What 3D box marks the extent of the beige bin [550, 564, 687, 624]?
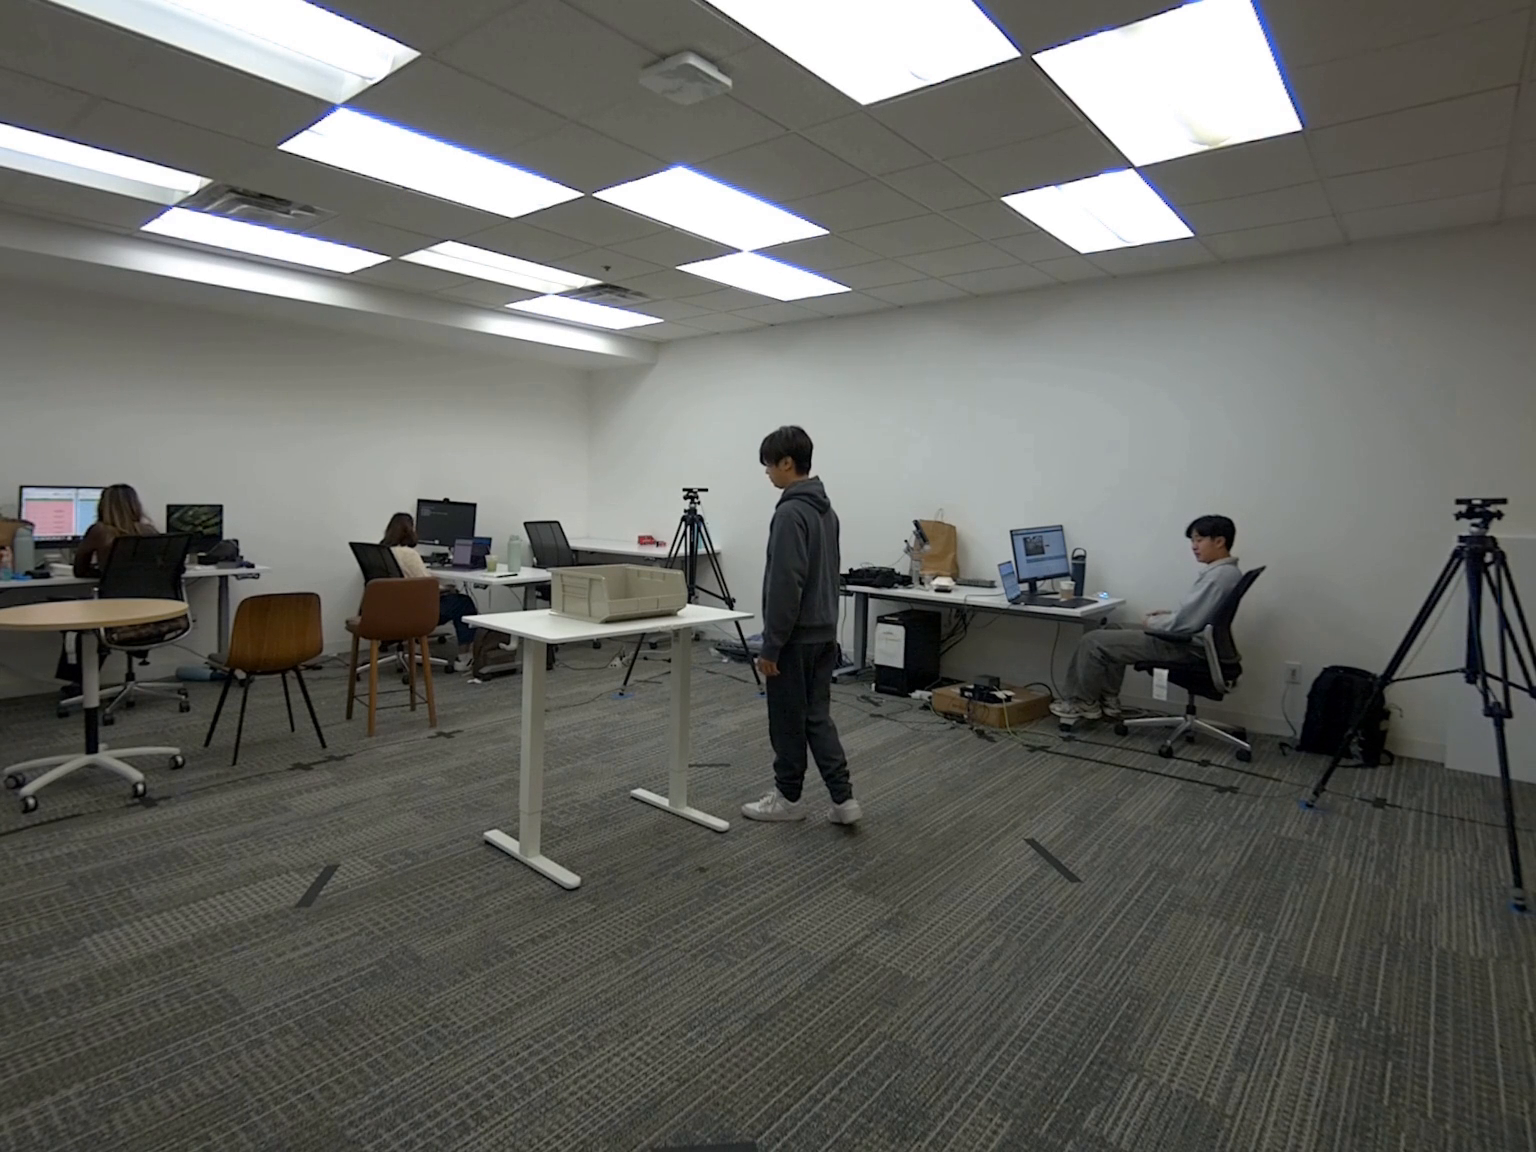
[{"bbox_3d":[-0.613,0.066,3.383,0.390,0.188,0.409,5,5,40],"label":"beige bin"}]
